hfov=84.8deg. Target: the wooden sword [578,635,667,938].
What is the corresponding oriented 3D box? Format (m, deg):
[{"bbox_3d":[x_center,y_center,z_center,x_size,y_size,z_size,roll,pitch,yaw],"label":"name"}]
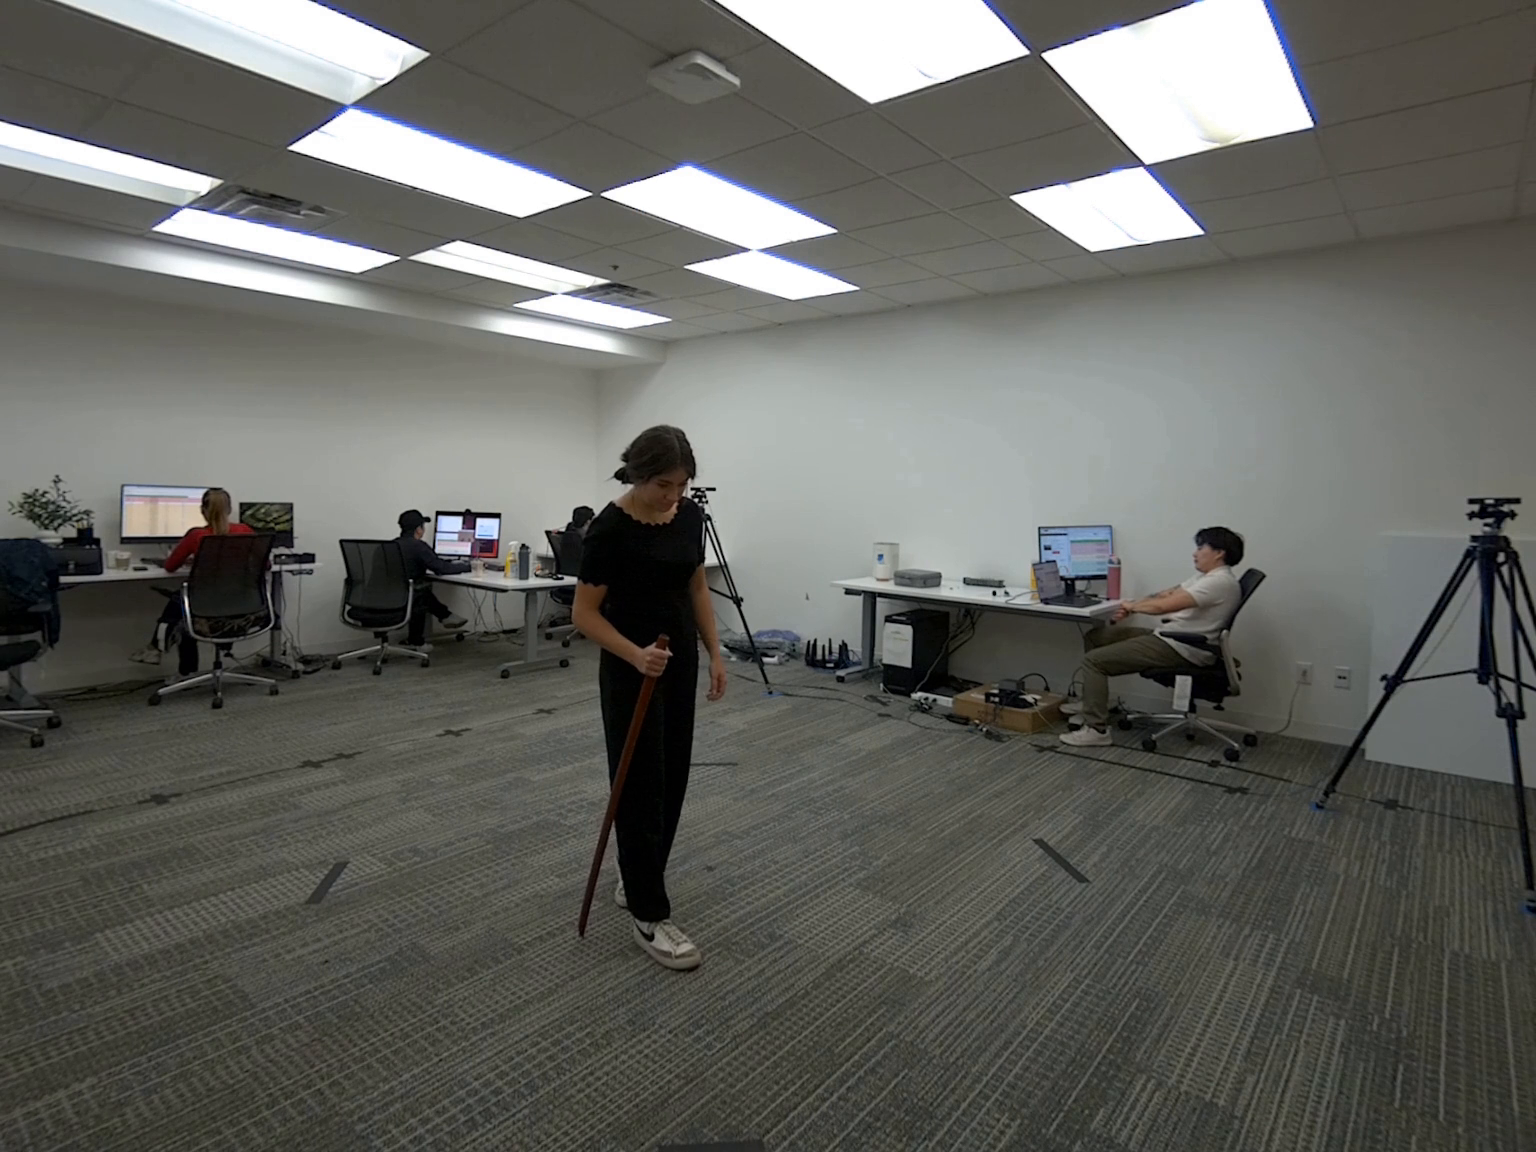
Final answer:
[{"bbox_3d":[-0.460,0.644,2.500,0.052,1.015,0.024,23,17,19],"label":"wooden sword"}]
